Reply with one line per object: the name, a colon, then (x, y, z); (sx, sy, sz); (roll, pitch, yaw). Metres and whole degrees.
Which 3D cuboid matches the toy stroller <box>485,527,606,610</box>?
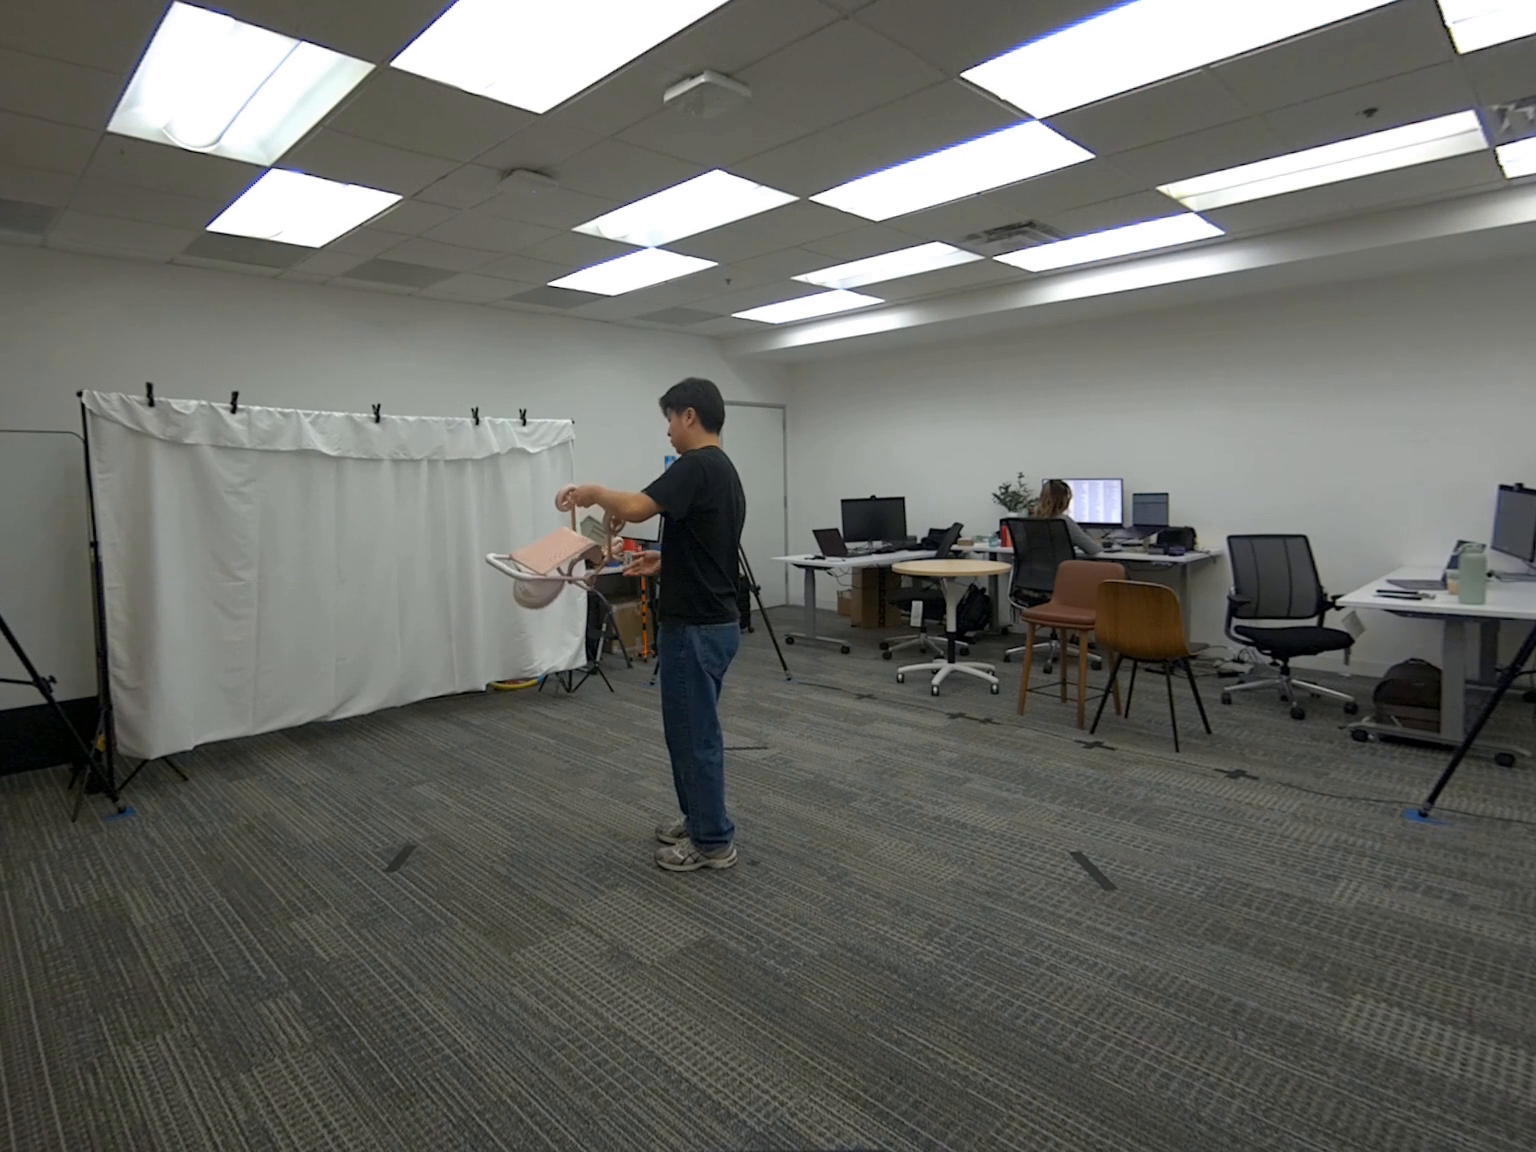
toy stroller: (-0.722, -0.074, 3.088); (0.290, 0.331, 0.534); (26, 53, 26)
